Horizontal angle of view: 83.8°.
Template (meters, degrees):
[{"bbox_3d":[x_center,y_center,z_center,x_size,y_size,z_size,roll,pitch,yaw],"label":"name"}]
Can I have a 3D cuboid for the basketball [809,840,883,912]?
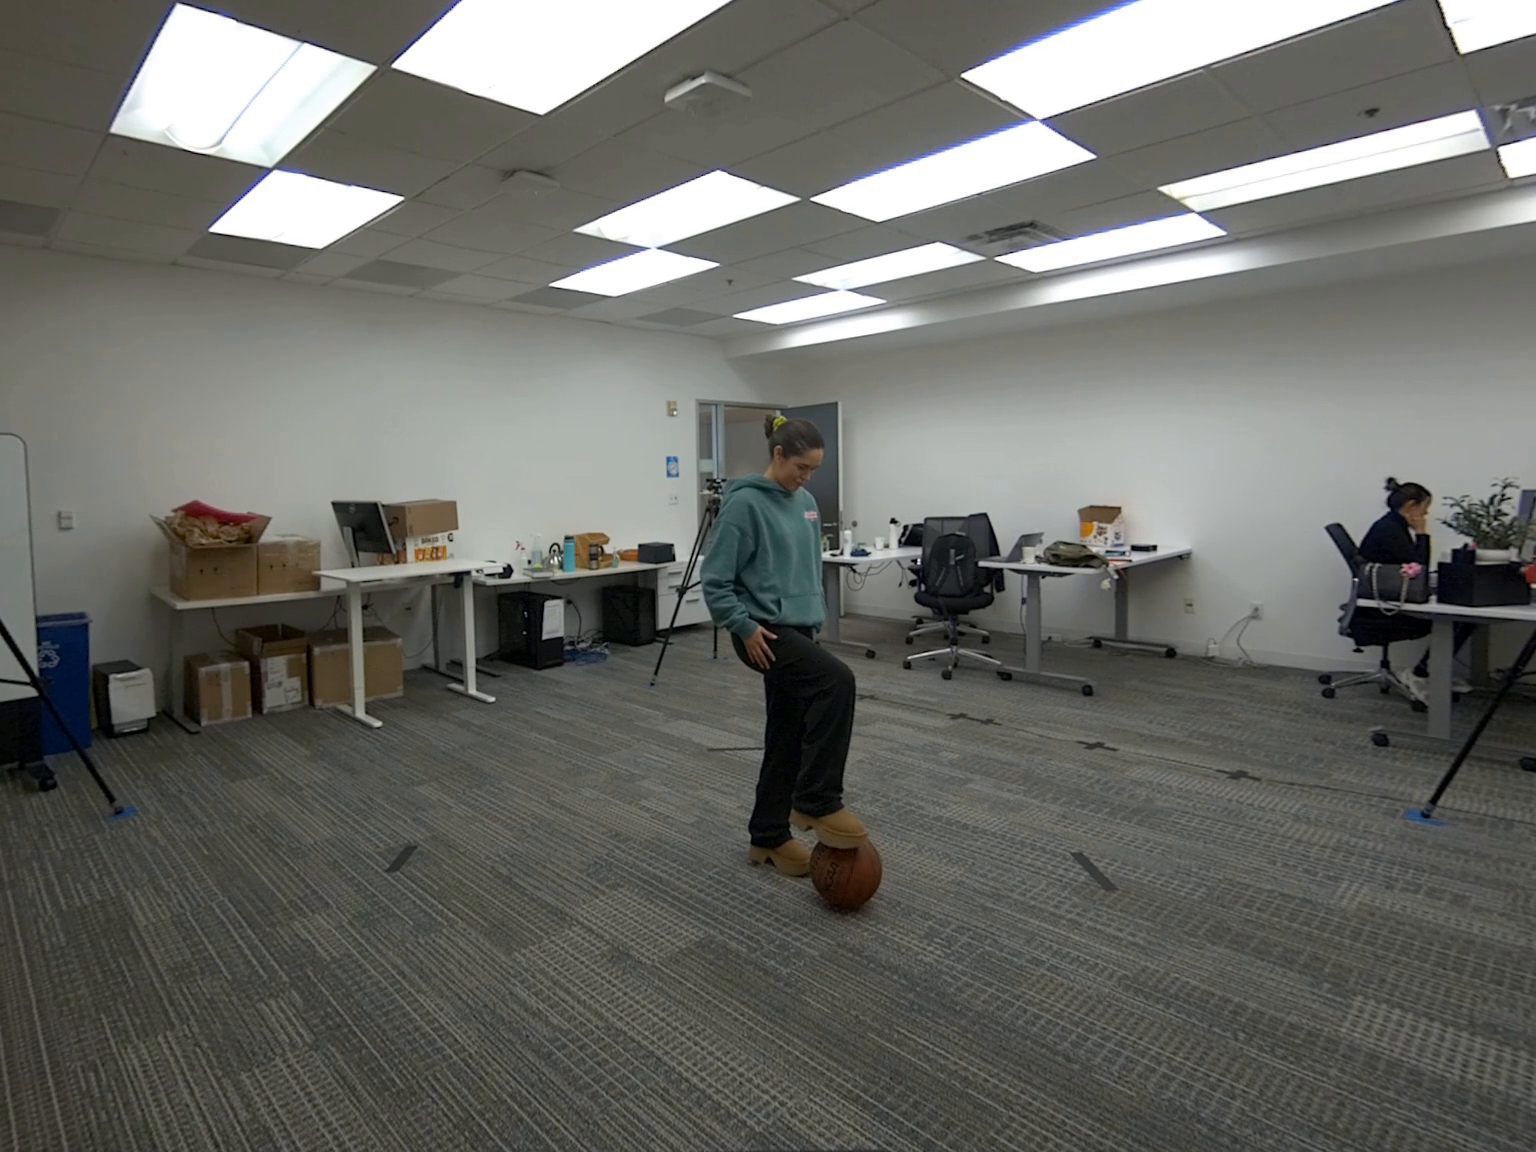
[{"bbox_3d":[0.264,0.954,2.803,0.236,0.235,0.237,-1,5,-2],"label":"basketball"}]
